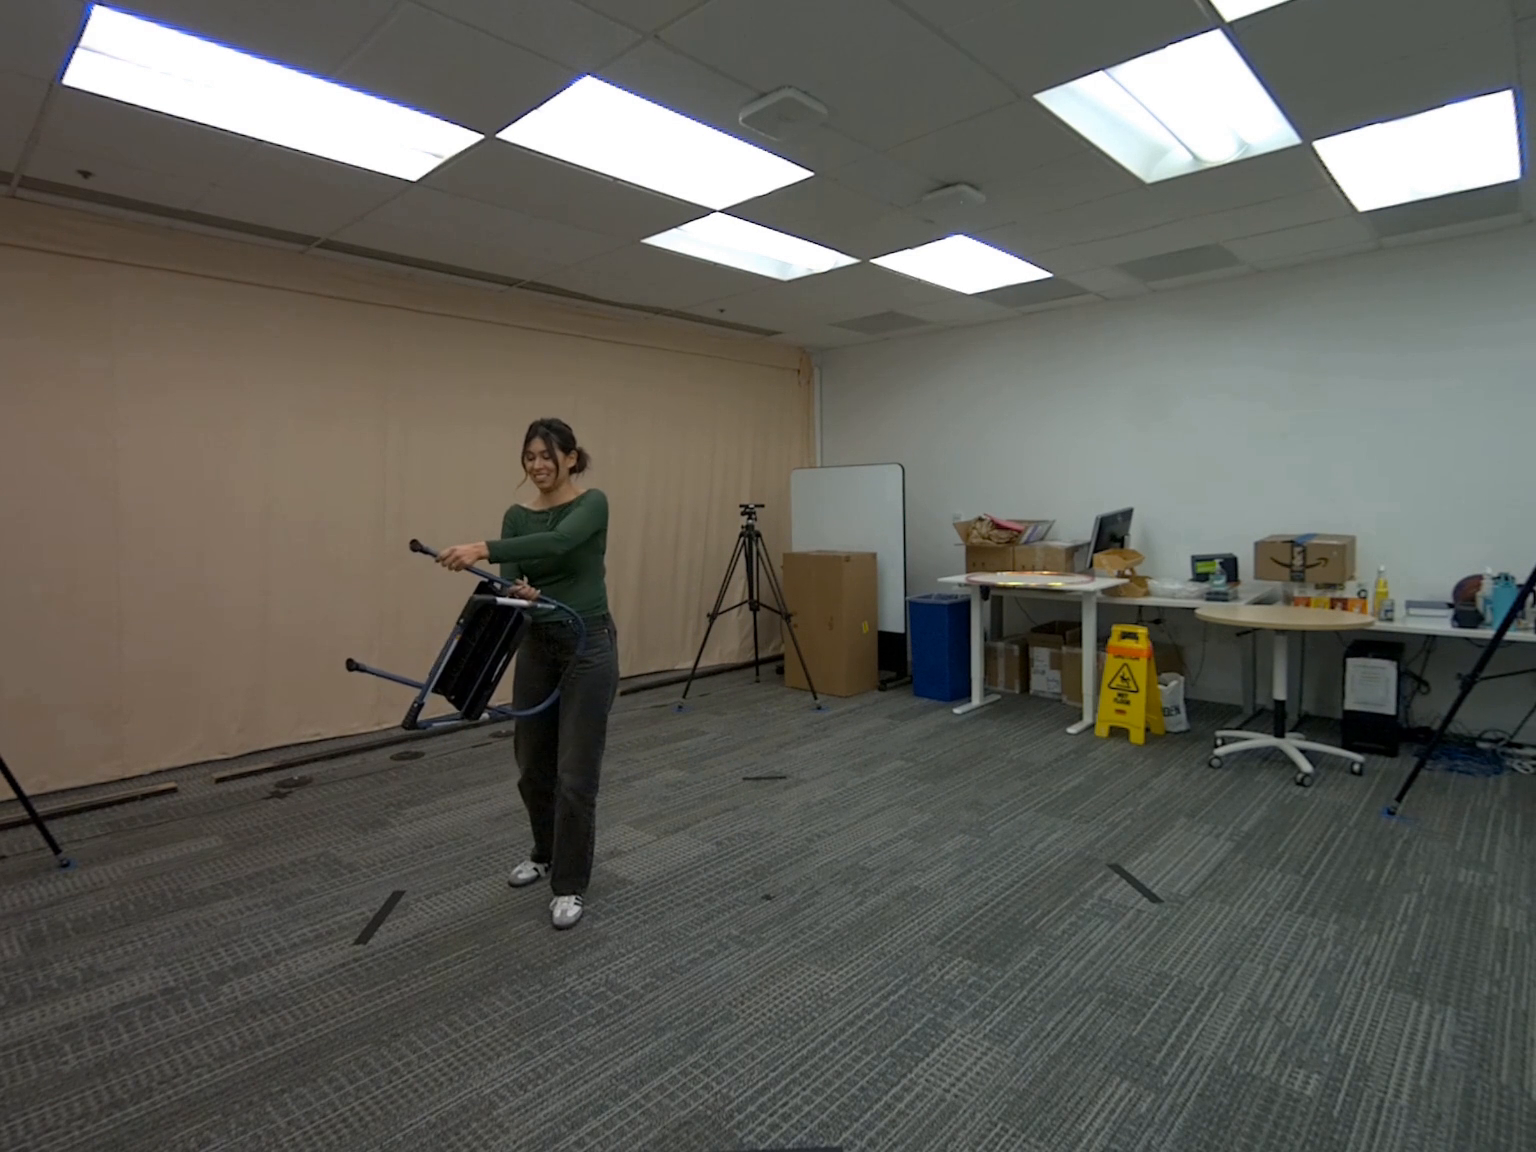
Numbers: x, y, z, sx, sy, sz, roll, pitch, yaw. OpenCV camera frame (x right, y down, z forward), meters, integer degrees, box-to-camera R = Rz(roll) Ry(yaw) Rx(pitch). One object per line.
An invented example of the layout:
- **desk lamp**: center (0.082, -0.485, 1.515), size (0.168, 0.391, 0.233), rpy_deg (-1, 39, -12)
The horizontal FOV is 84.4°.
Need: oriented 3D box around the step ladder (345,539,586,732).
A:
- **step ladder**: center (-0.851, 0.214, 2.565), size (0.361, 0.430, 0.585), rpy_deg (33, 5, 32)
